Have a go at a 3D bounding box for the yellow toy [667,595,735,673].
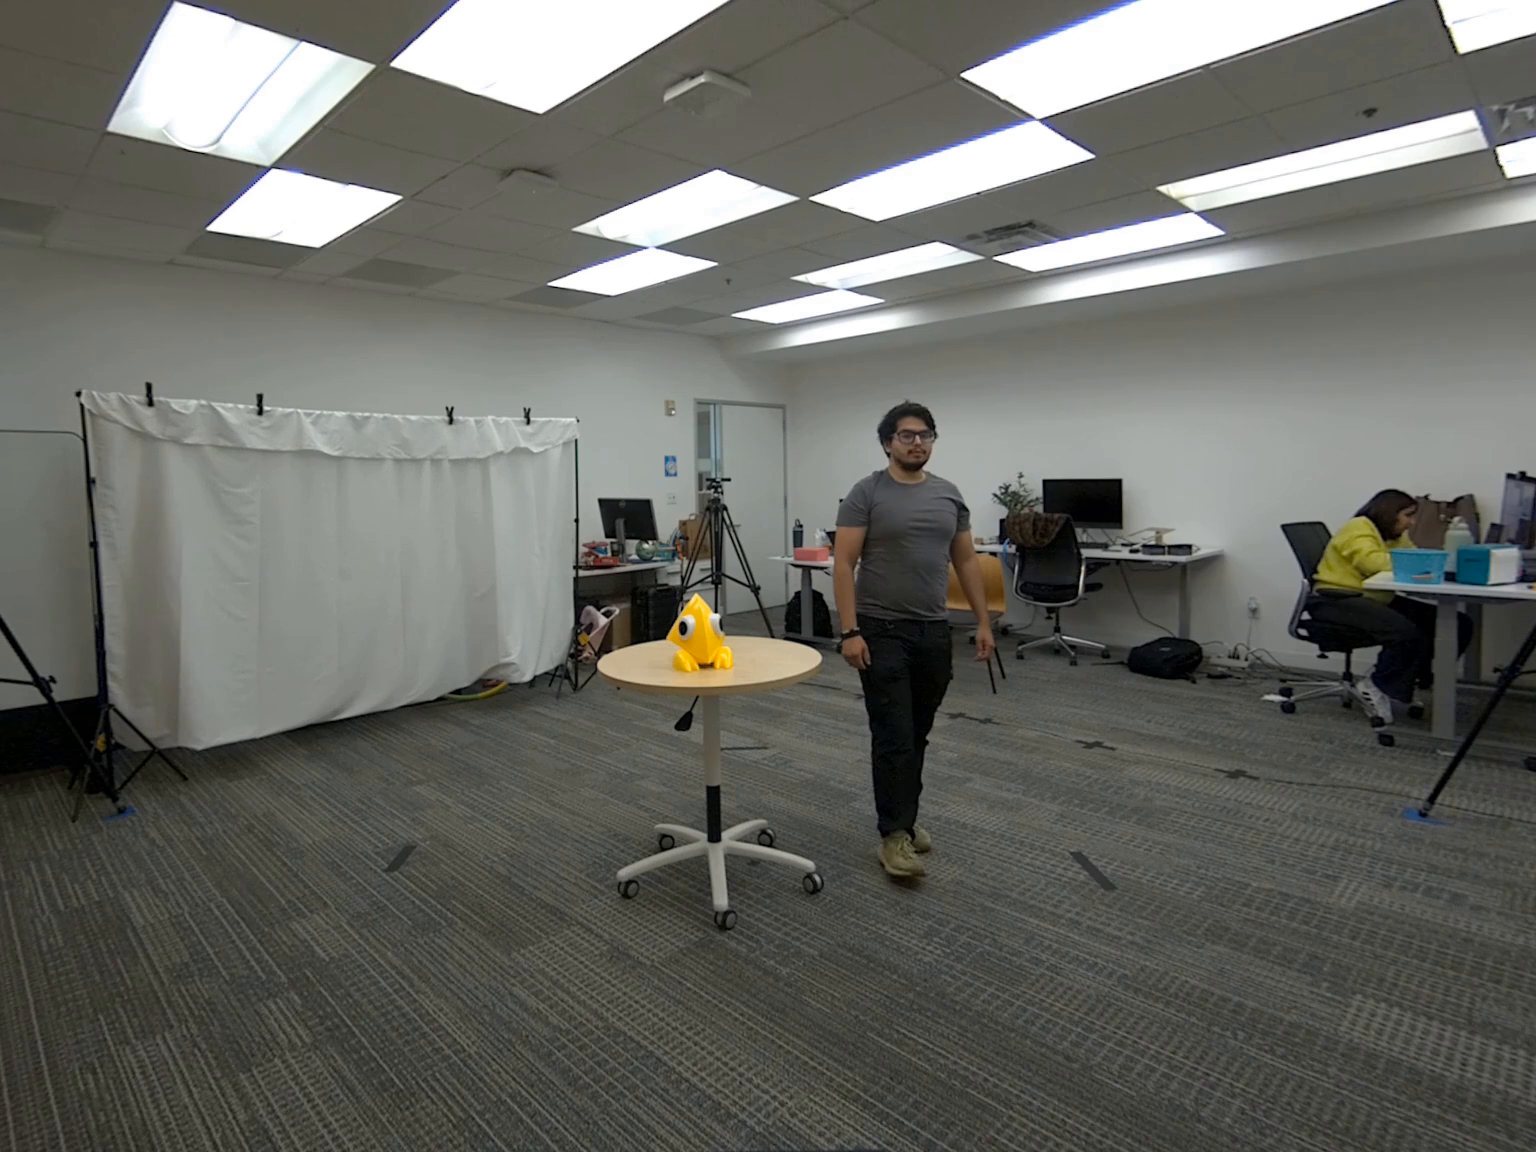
[{"bbox_3d":[-0.217,0.179,2.835,0.202,0.230,0.196,-3,4,-16],"label":"yellow toy"}]
